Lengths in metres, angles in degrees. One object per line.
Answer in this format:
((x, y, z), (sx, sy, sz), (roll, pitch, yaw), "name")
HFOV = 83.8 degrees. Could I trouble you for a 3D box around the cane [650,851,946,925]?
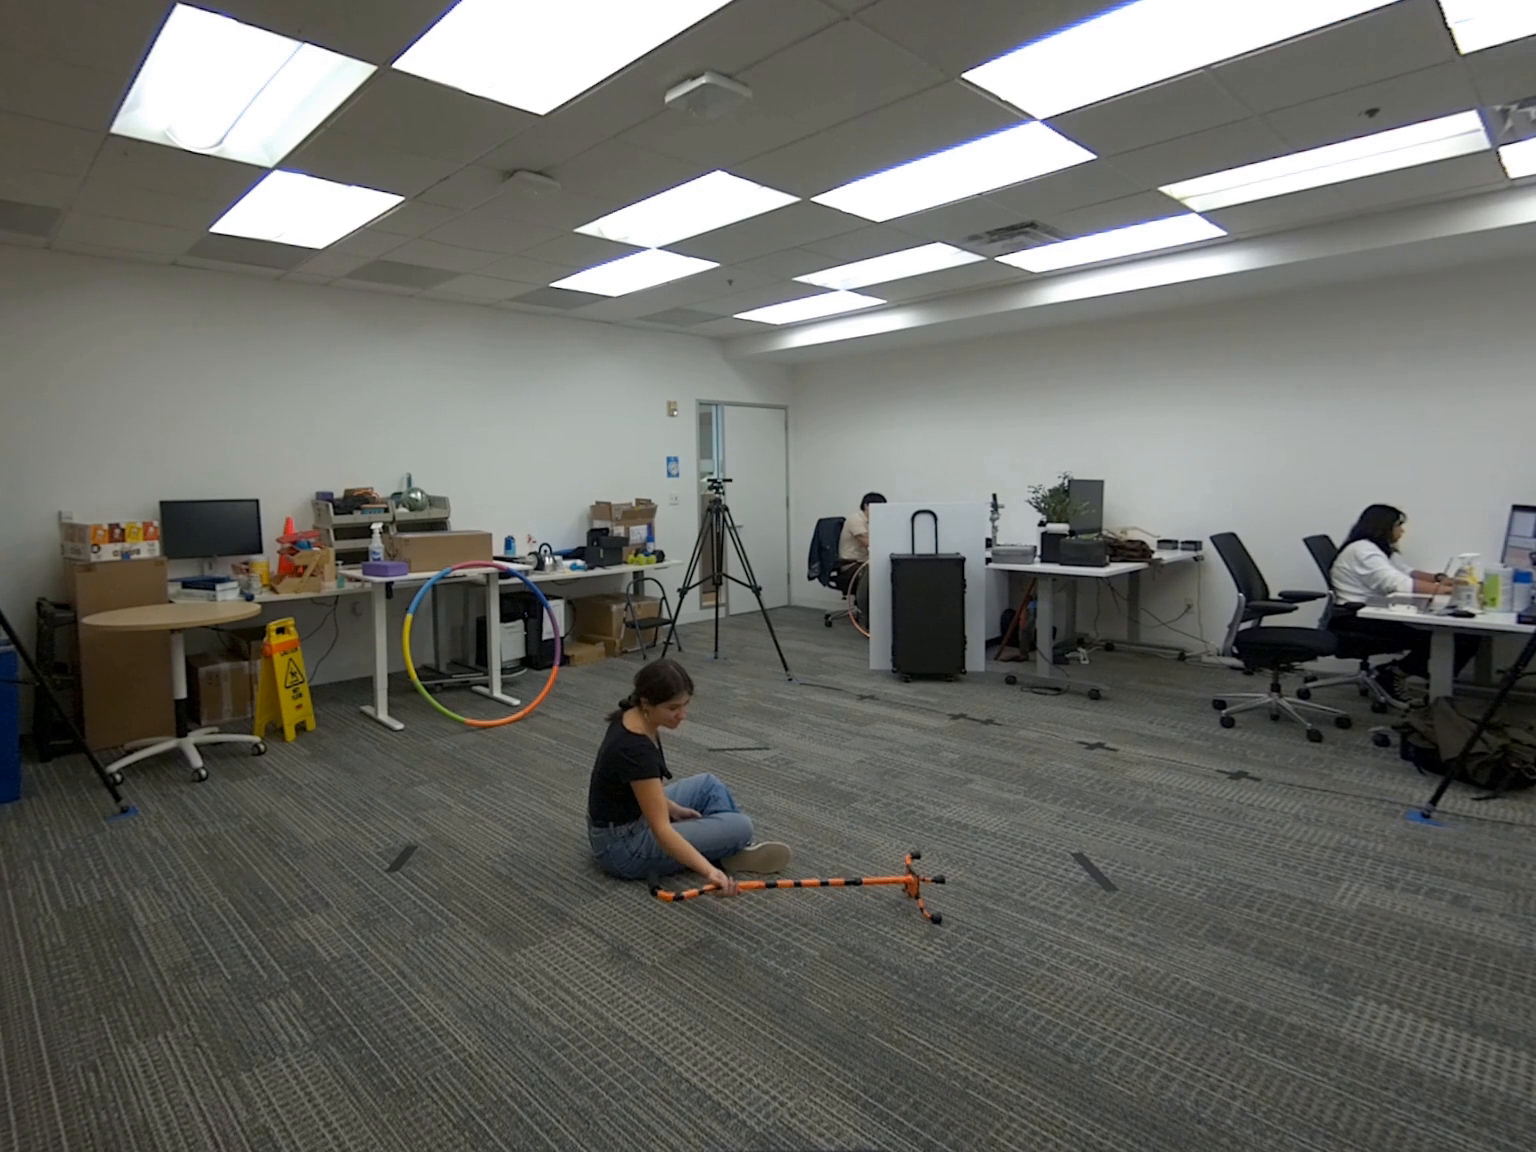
((0.091, 0.969, 2.674), (0.897, 0.151, 0.209), (3, 4, -12), "cane")
